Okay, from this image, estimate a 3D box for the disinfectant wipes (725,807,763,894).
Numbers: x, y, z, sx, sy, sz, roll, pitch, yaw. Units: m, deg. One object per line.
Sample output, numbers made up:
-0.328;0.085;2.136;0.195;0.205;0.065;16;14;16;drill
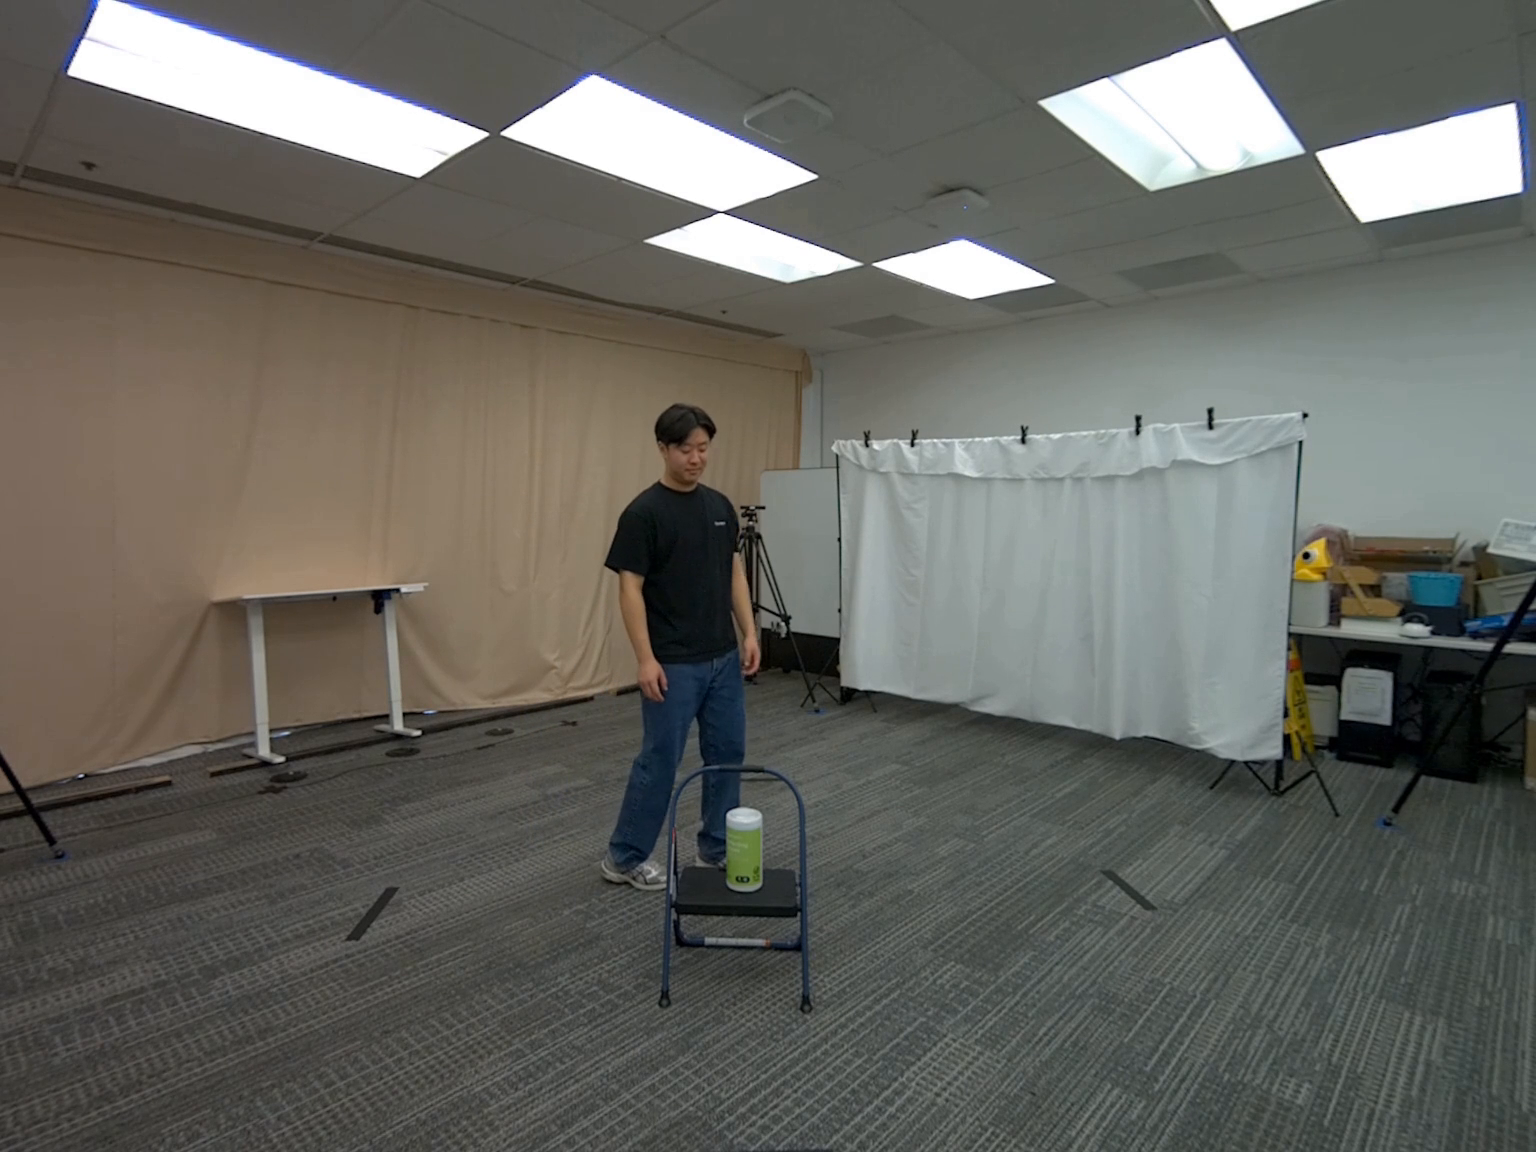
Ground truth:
-0.063;0.820;2.503;0.118;0.216;0.118;-2;6;-2;disinfectant wipes
